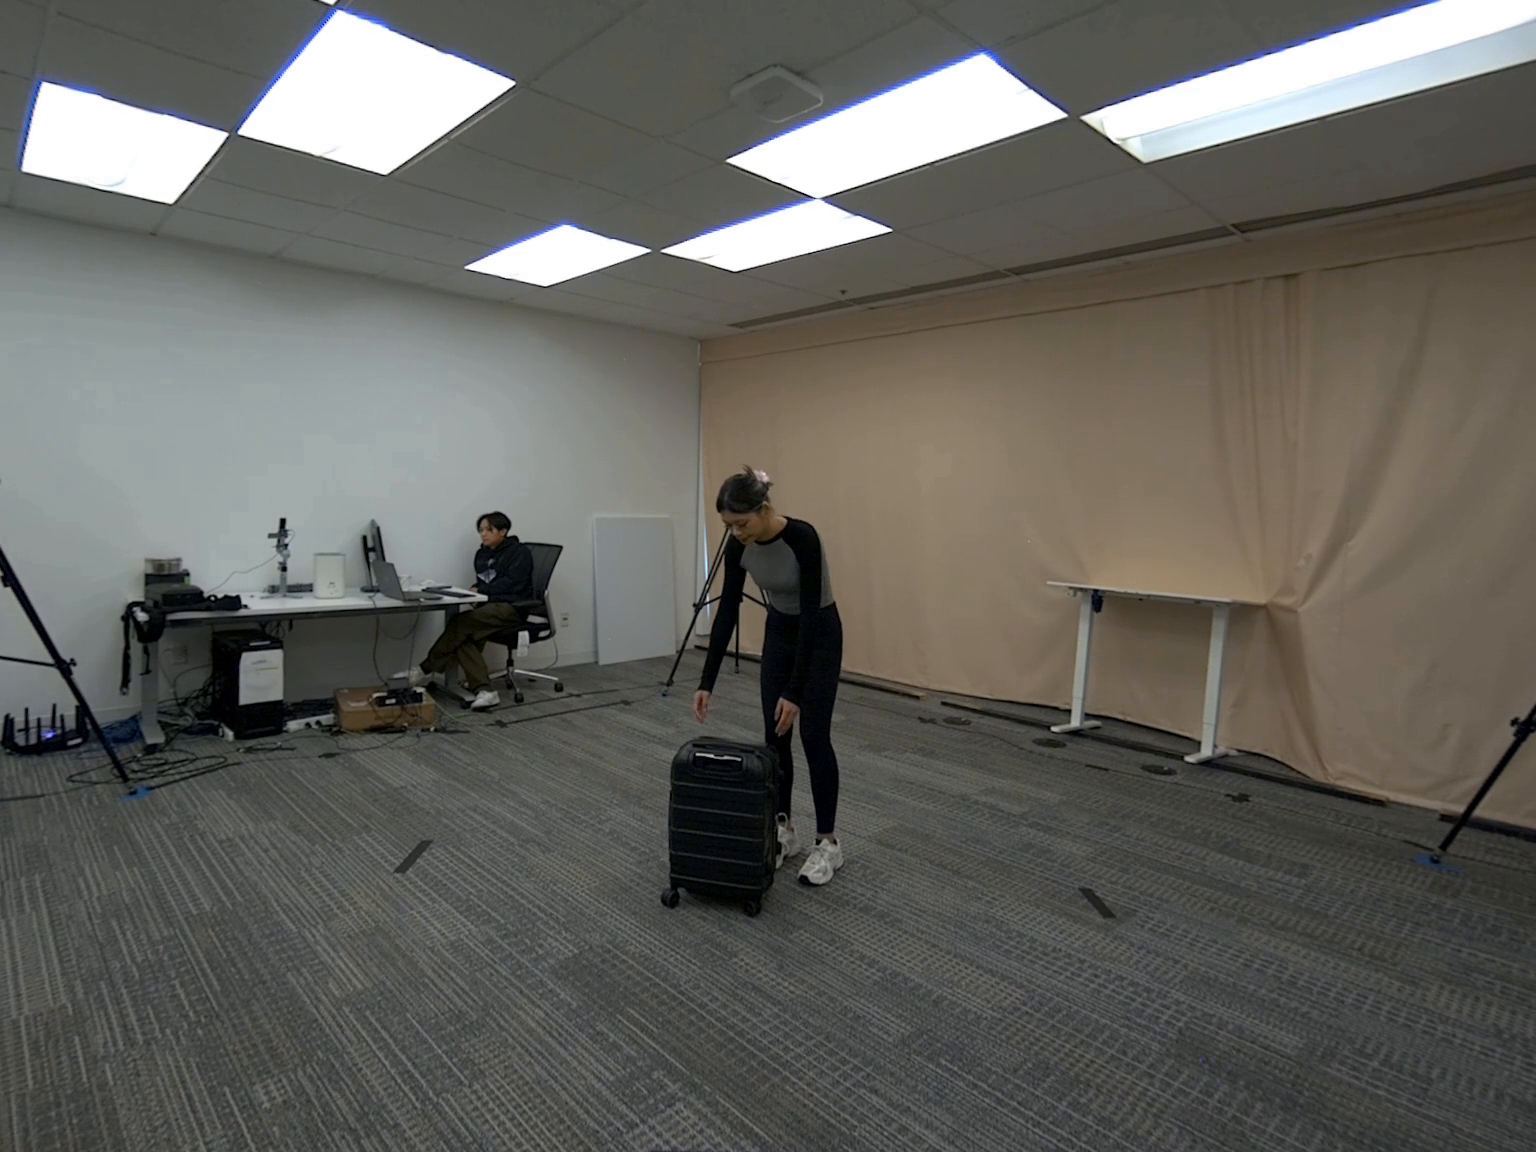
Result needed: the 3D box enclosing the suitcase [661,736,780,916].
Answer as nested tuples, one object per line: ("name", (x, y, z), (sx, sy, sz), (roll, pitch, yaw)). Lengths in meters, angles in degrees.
("suitcase", (-0.160, 0.845, 2.934), (0.380, 0.548, 0.246), (2, 3, 15))
